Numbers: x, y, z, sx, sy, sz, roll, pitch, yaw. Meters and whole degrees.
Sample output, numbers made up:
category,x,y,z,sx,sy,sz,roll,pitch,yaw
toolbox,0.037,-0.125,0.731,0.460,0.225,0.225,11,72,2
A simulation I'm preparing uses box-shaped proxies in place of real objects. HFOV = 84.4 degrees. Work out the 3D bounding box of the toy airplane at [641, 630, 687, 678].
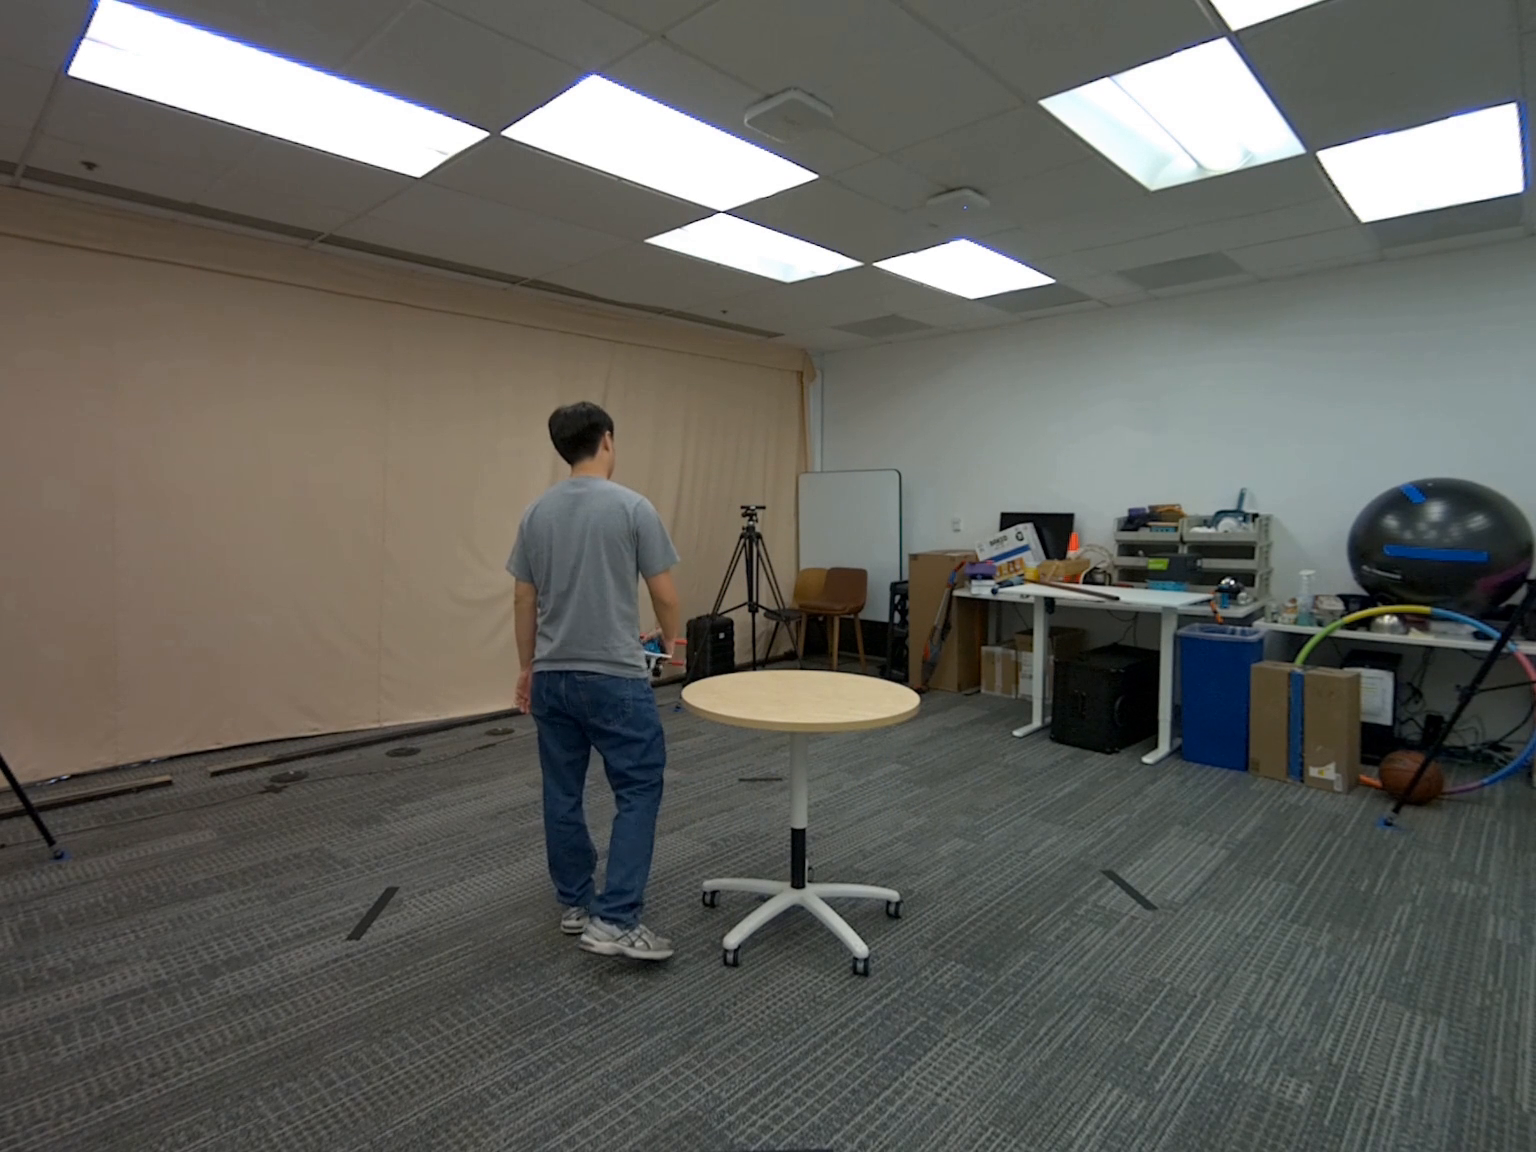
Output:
category,x,y,z,sx,sy,sz,roll,pitch,yaw
toy airplane,-0.393,0.266,2.986,0.243,0.157,0.266,16,-16,-33
